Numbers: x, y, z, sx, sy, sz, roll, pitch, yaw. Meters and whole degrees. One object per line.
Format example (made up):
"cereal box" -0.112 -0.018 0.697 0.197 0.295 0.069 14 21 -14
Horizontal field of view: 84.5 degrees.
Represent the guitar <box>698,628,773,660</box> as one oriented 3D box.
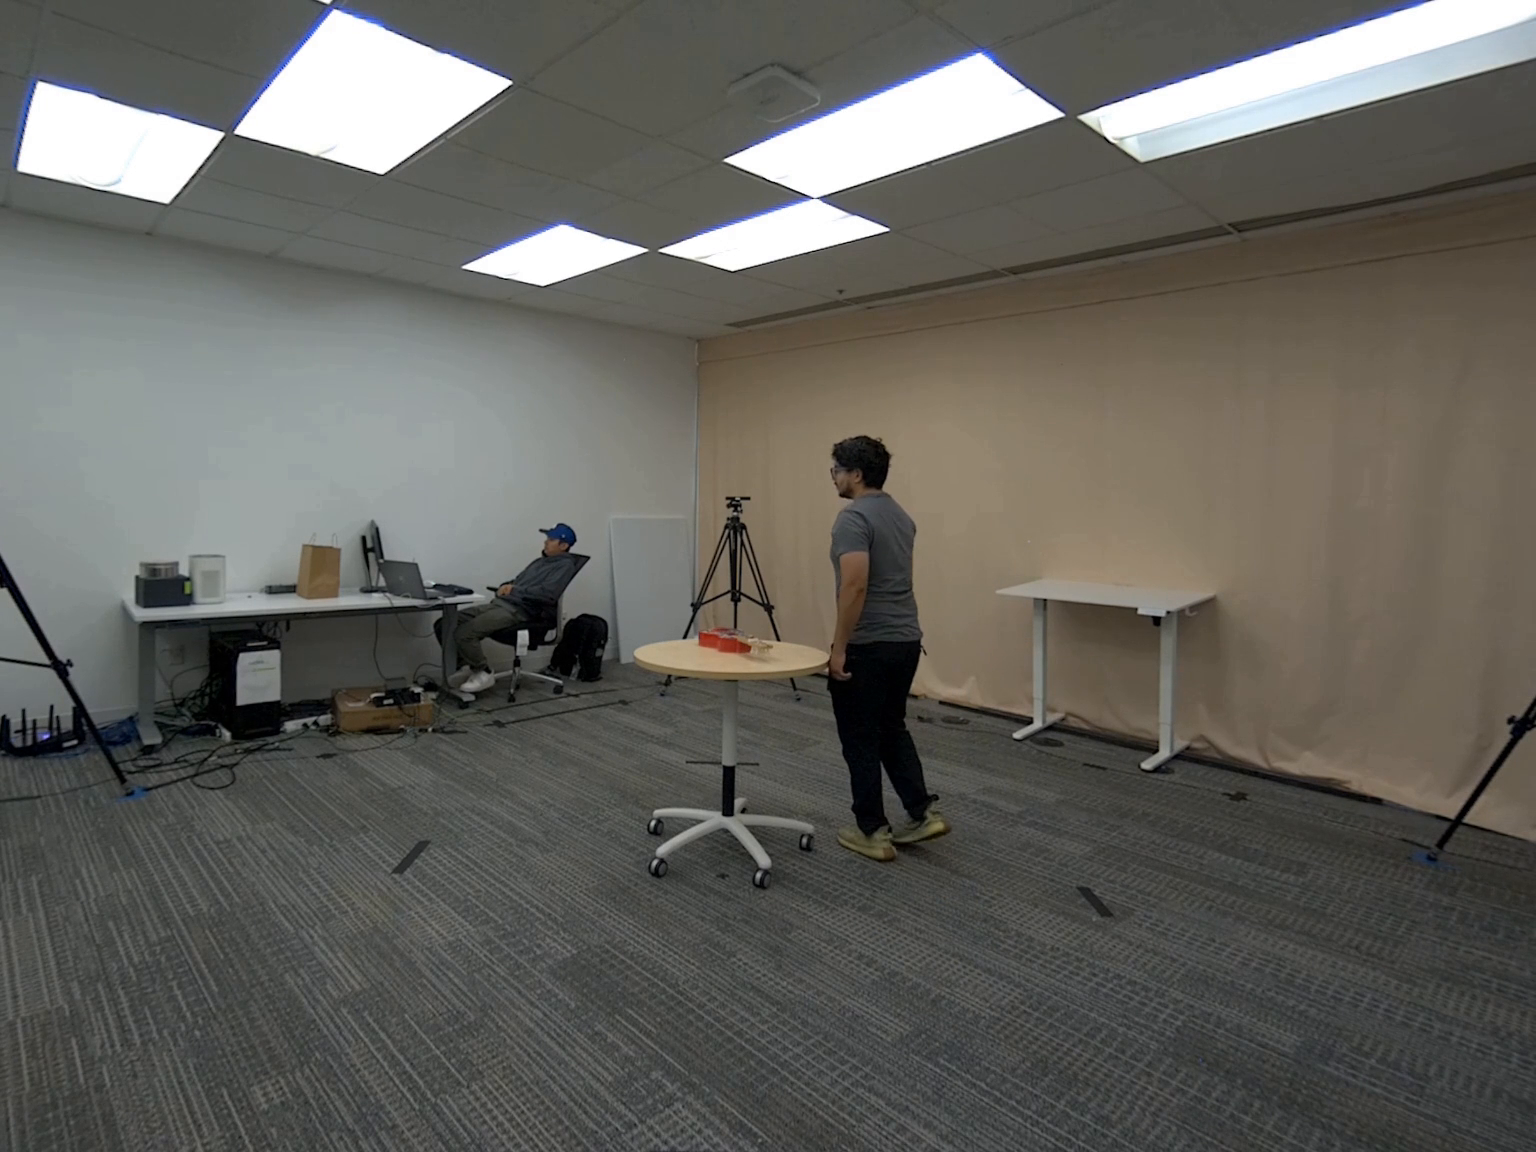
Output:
"guitar" -0.140 0.269 3.341 0.190 0.070 0.505 1 4 -17
